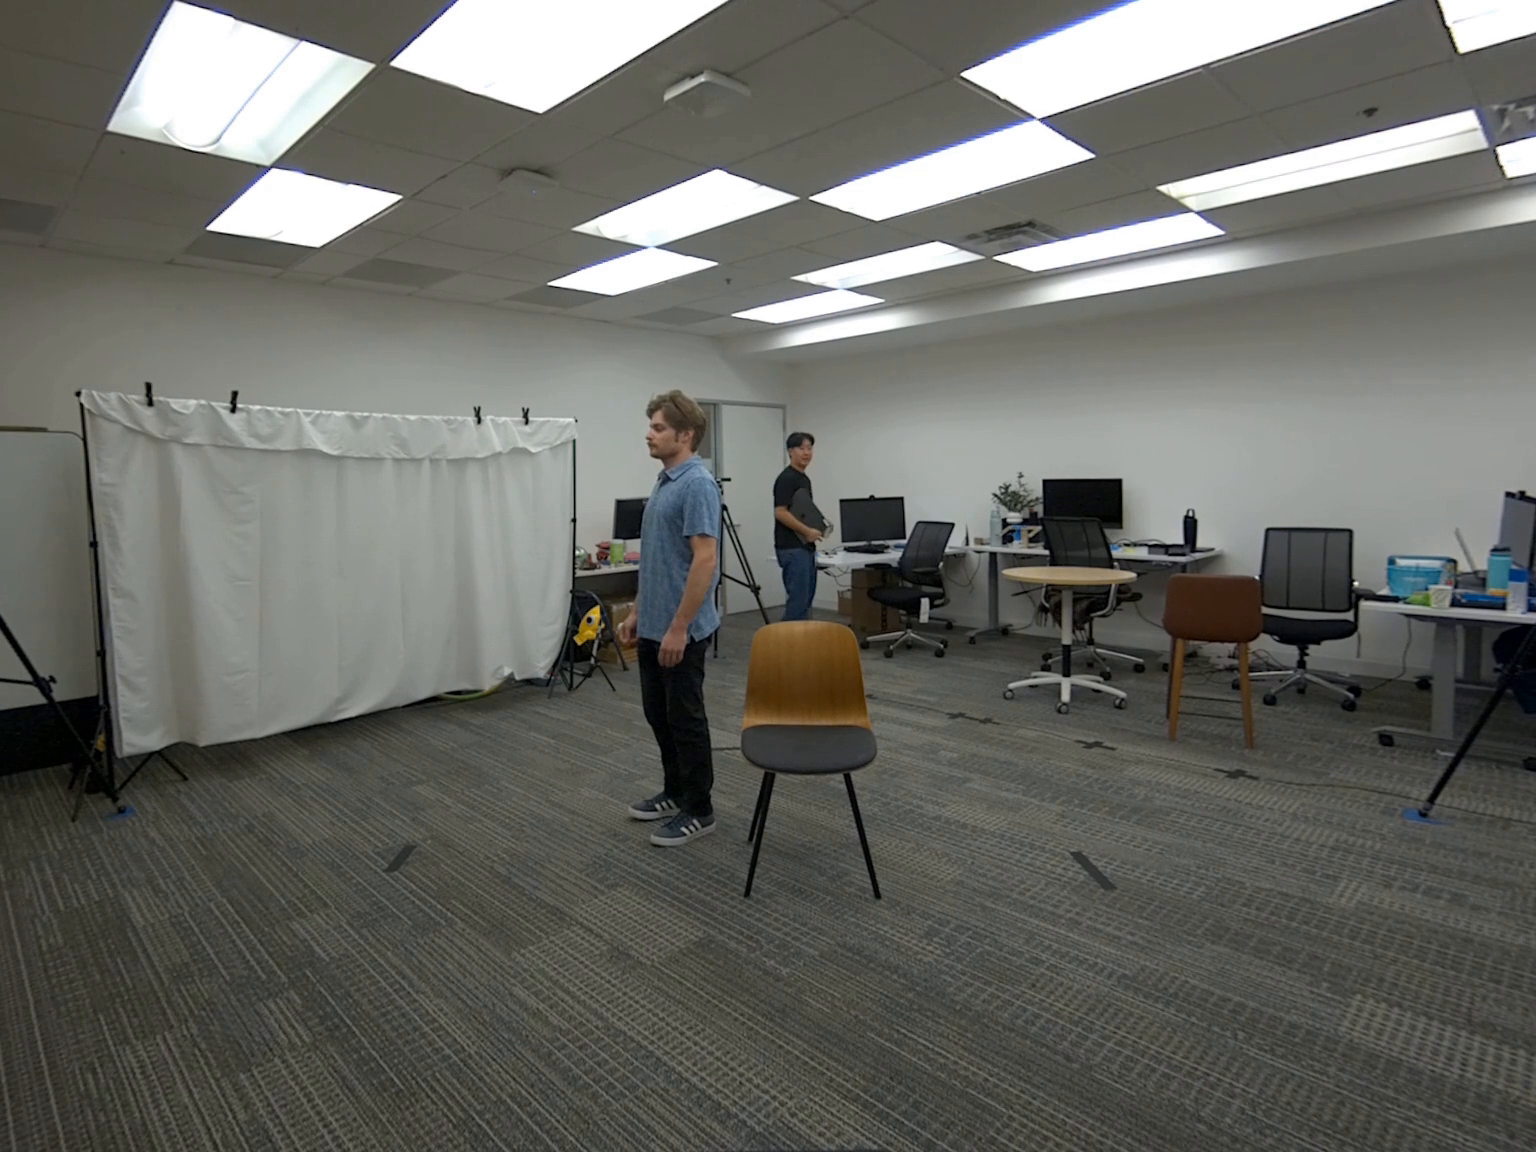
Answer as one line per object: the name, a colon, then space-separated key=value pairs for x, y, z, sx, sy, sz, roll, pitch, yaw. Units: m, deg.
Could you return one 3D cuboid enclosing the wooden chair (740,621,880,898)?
wooden chair: x=0.150 y=0.625 z=3.012 sx=0.479 sy=0.877 sz=0.522 roll=0 pitch=0 yaw=1
